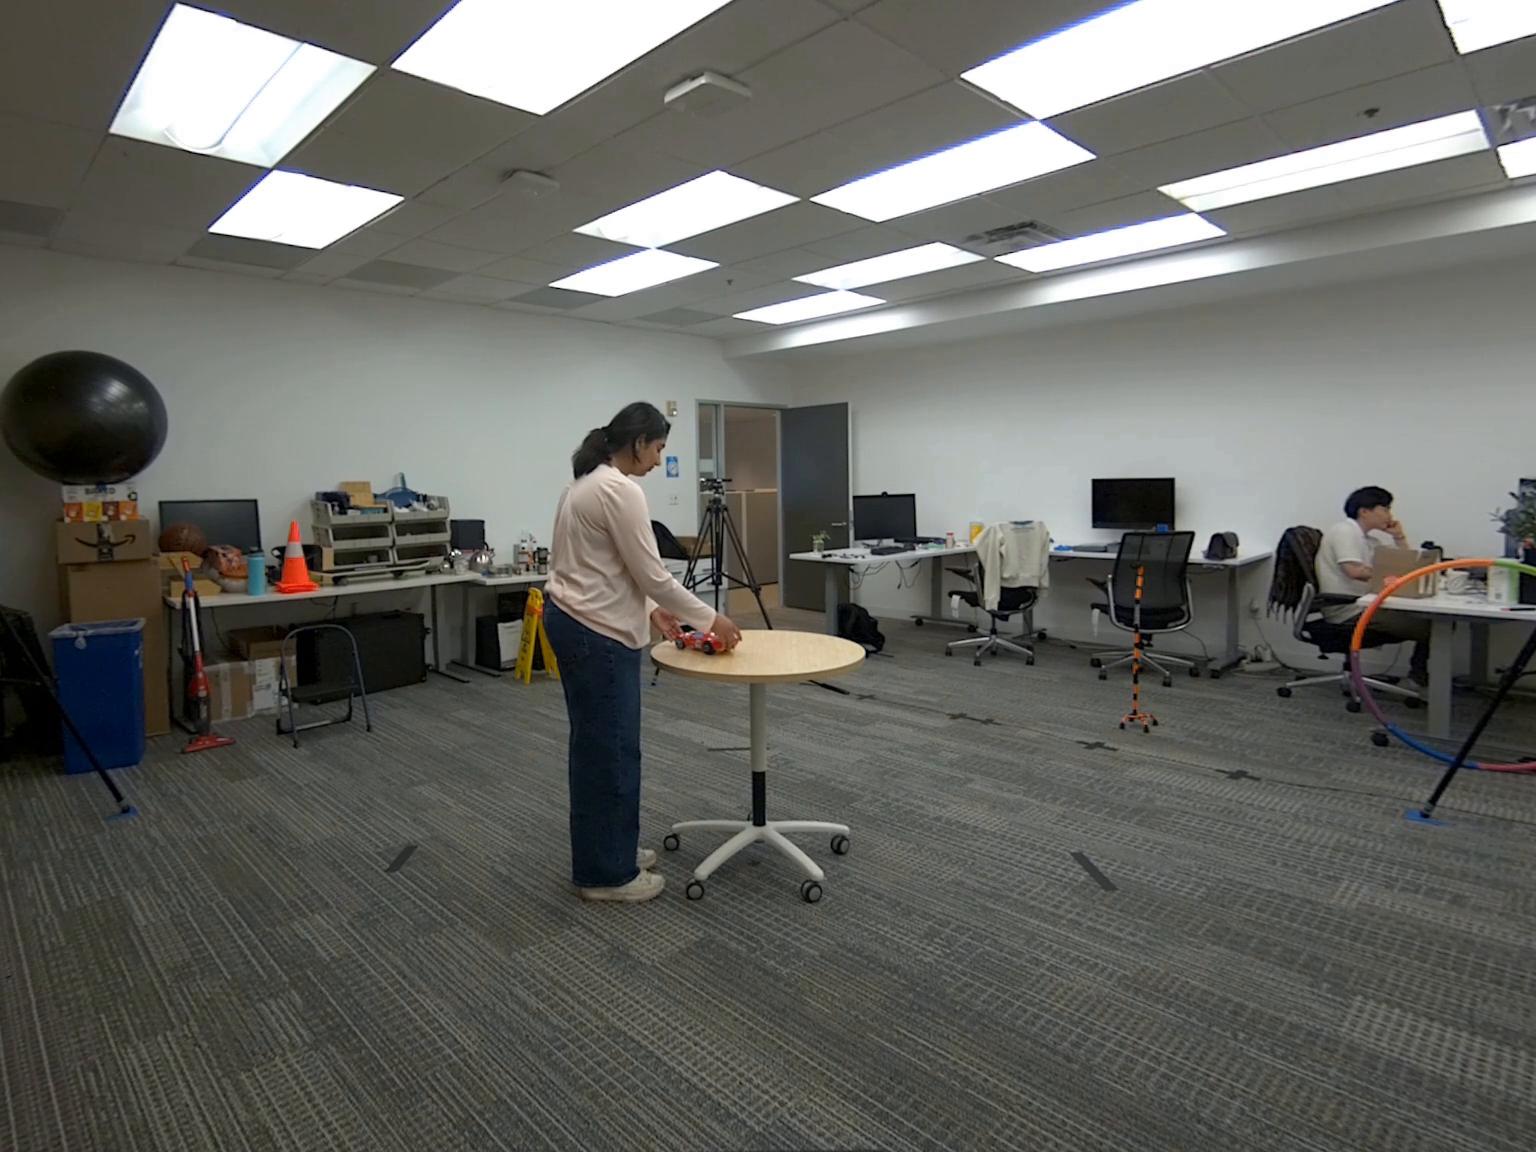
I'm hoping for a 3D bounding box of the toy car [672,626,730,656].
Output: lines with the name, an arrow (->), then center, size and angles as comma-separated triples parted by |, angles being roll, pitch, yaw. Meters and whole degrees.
toy car -> -0.214, 0.234, 3.058 | 0.260, 0.083, 0.127 | -9, -1, 44
